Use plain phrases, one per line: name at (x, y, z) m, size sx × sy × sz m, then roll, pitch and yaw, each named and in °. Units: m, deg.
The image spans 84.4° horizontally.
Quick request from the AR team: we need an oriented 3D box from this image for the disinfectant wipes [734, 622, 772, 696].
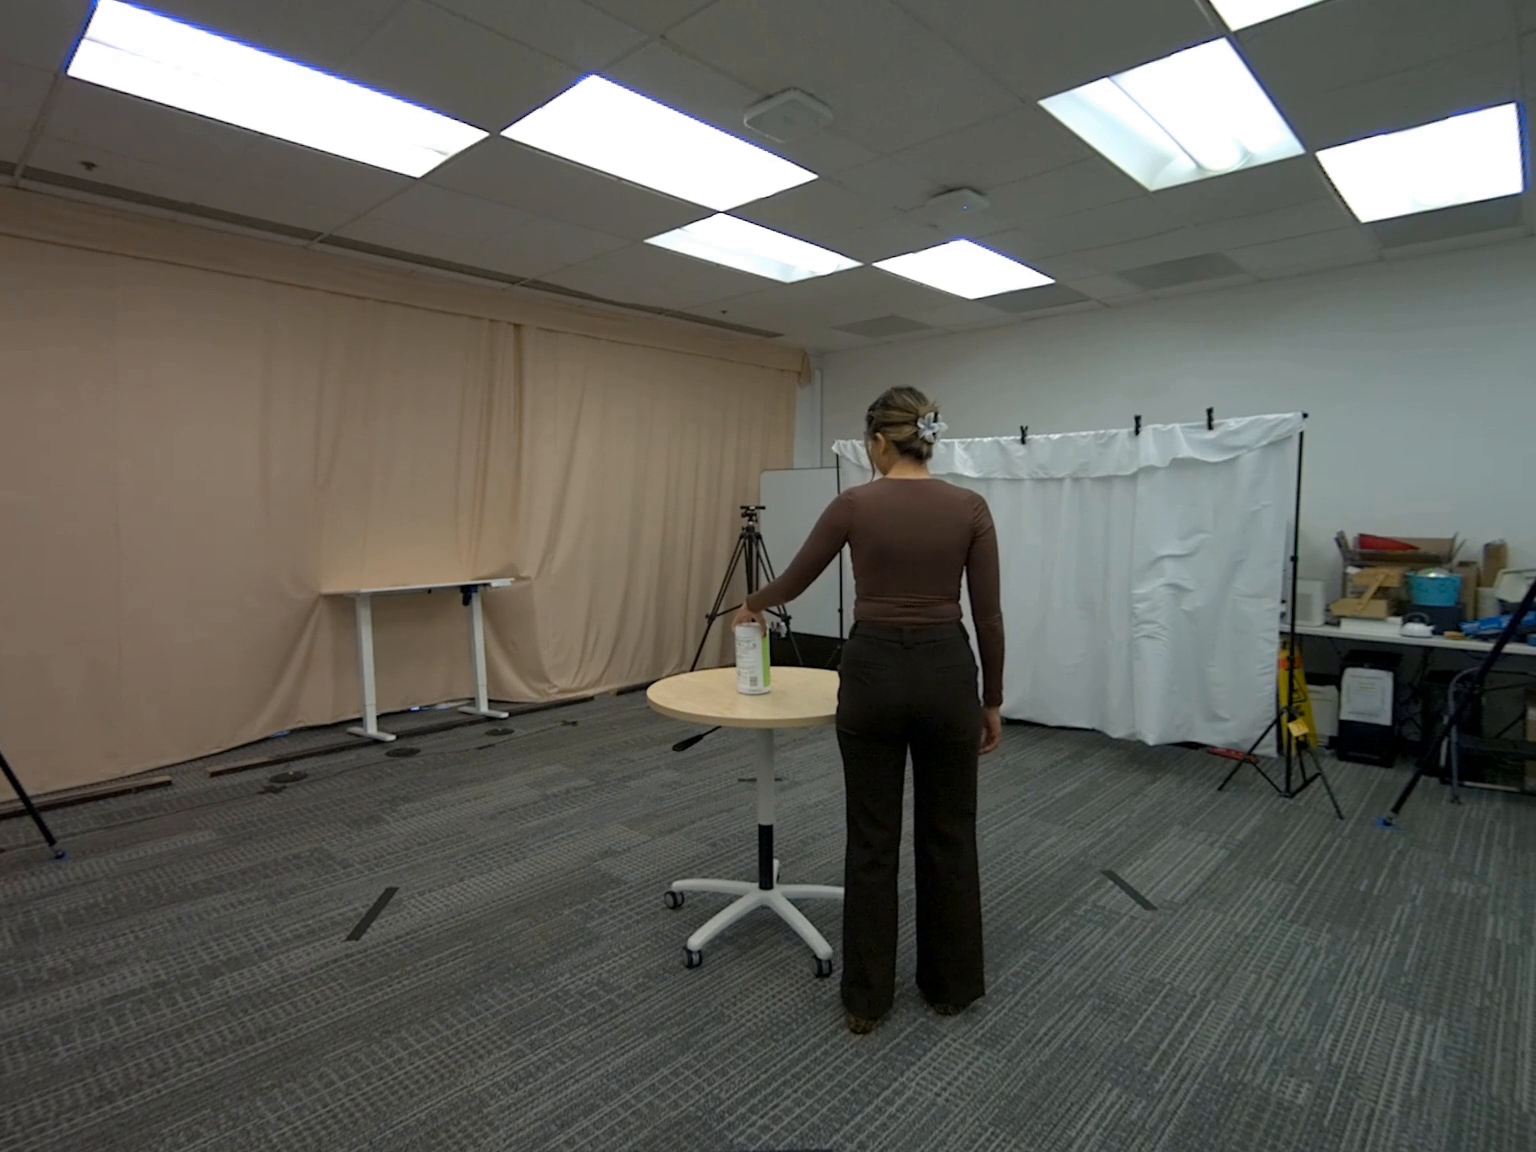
disinfectant wipes at (-0.044, 0.266, 2.686) m, size 0.118 × 0.217 × 0.118 m, roll -3°, pitch 4°, yaw -2°
